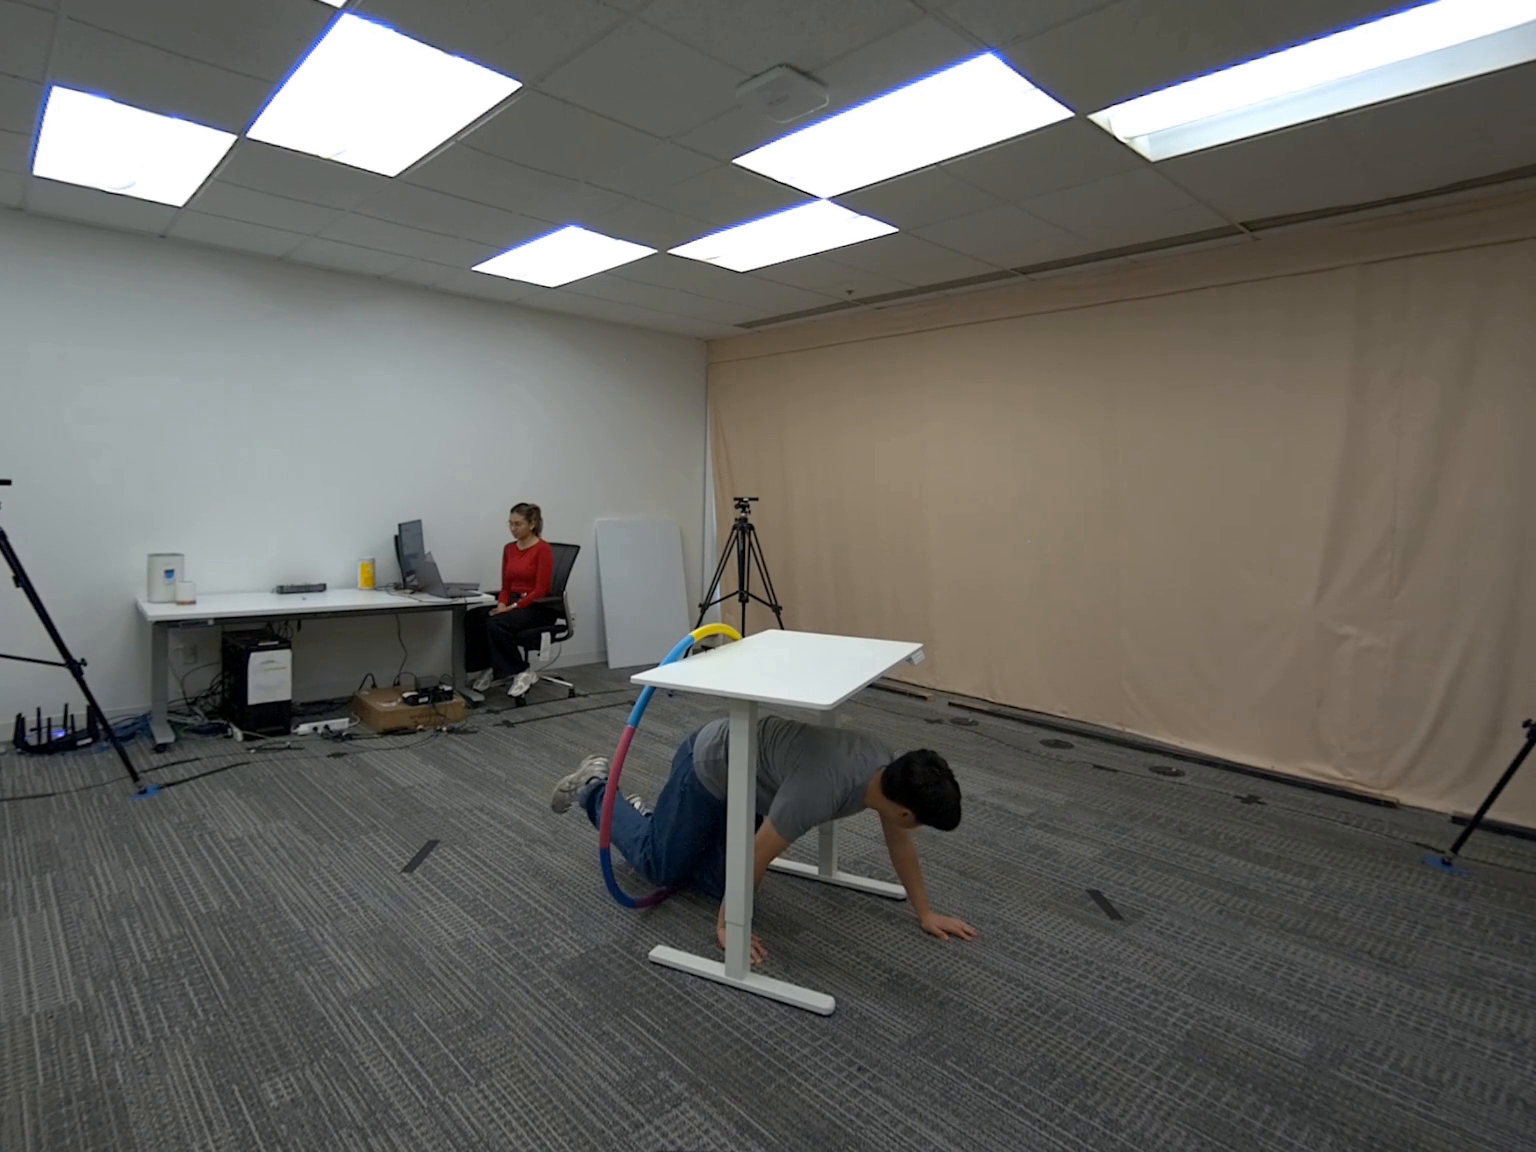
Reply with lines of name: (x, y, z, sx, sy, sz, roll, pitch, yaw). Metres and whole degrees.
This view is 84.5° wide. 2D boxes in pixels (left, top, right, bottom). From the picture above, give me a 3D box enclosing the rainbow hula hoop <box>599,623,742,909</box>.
rainbow hula hoop: (-0.291, 0.642, 2.892, 0.036, 0.974, 0.964, 13, 8, 21)
